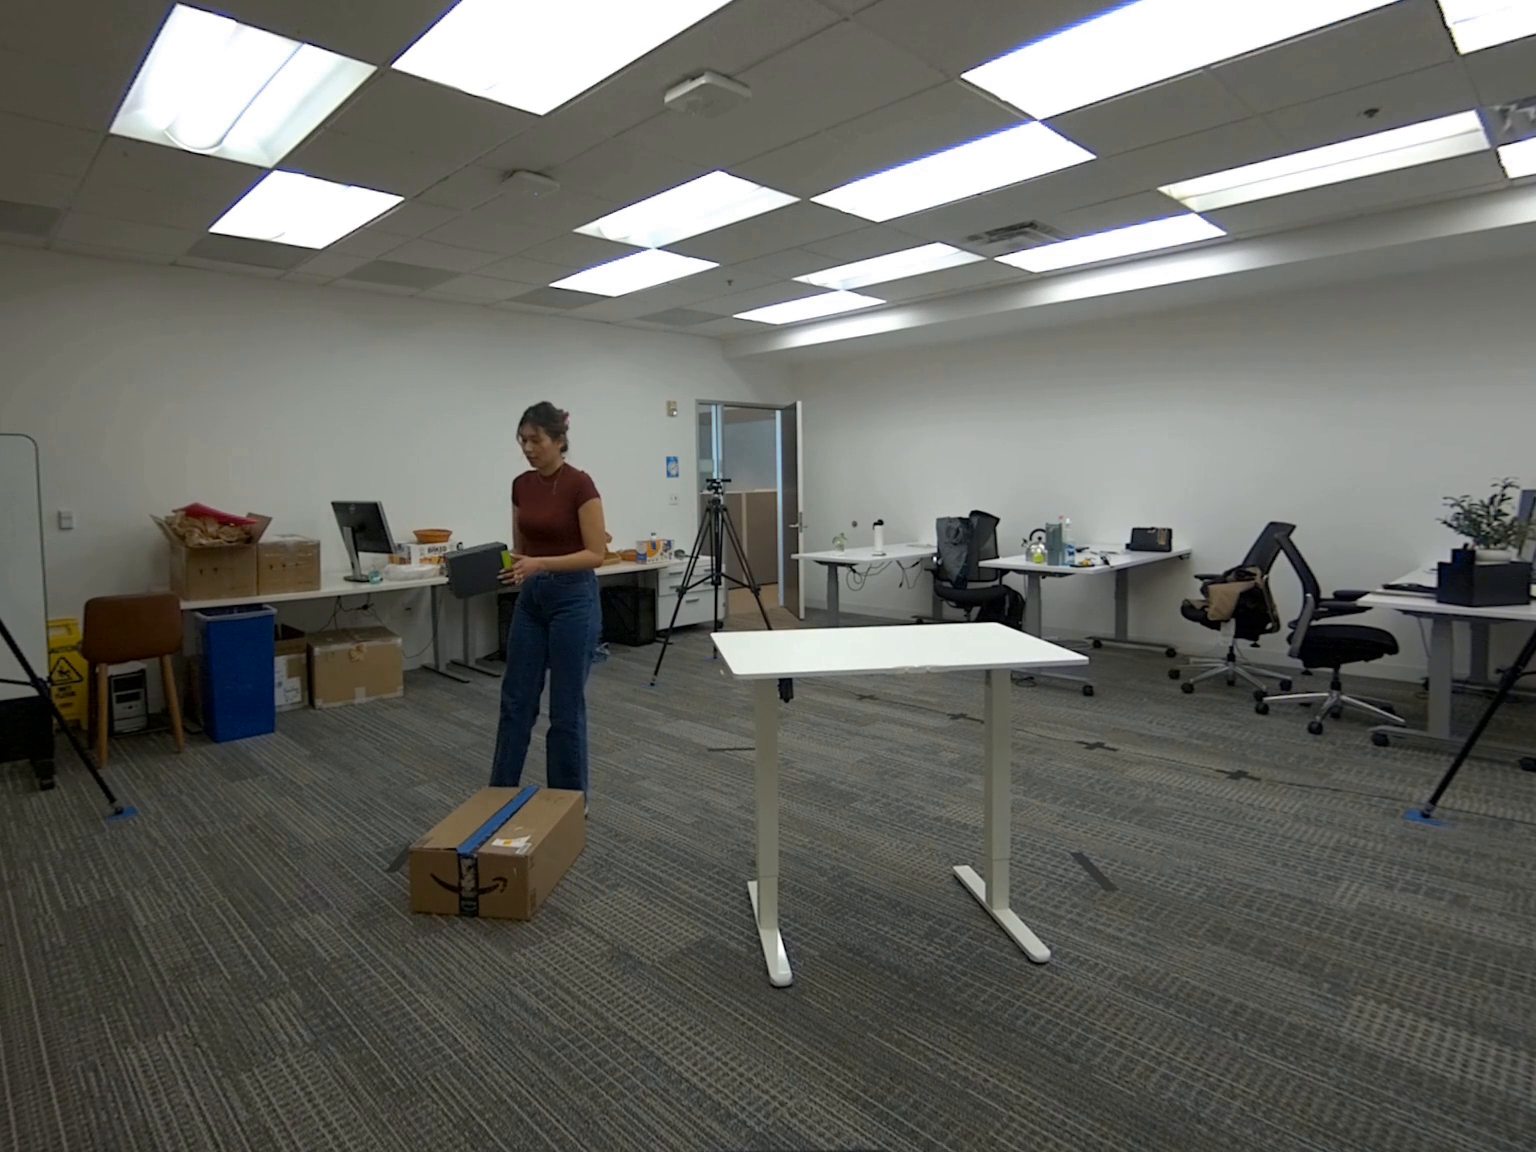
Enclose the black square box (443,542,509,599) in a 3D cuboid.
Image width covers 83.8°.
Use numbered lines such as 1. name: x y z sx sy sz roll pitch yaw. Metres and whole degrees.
1. black square box: -1.088 -0.025 3.210 0.214 0.154 0.233 -14 10 -20
